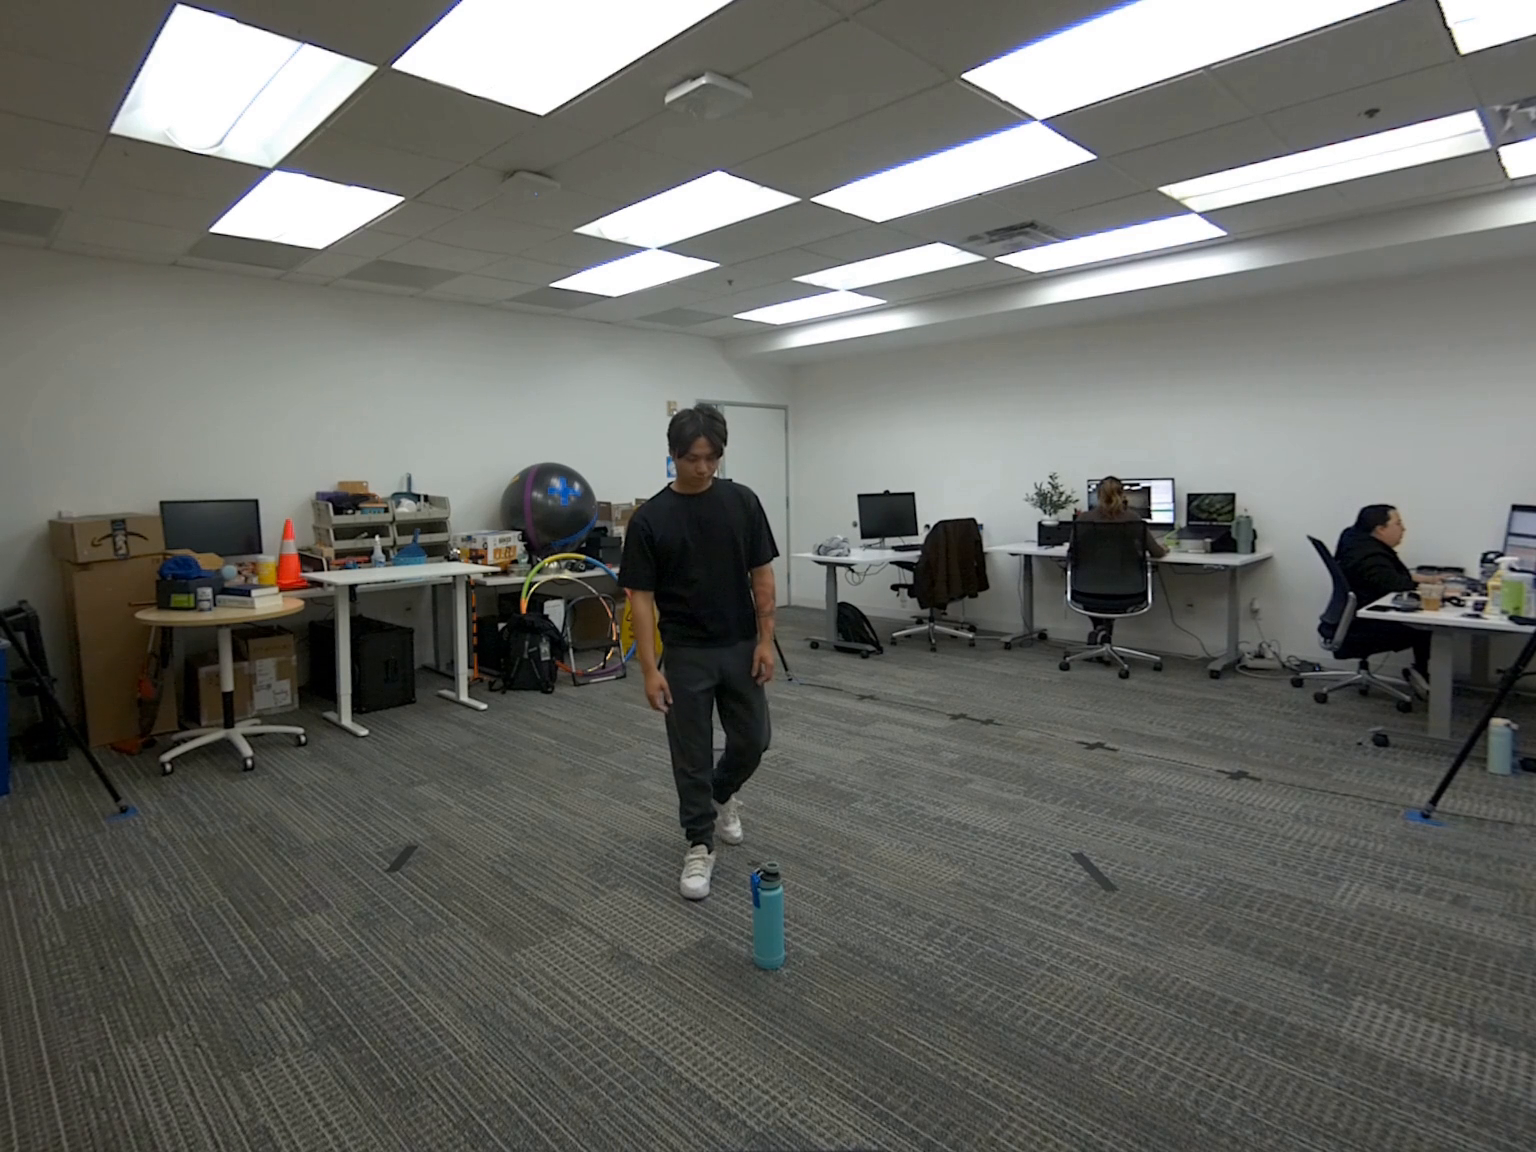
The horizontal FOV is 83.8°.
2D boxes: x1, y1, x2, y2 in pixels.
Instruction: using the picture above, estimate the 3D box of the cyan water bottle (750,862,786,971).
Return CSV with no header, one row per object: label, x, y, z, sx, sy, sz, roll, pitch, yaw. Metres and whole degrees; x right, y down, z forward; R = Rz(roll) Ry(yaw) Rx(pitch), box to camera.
cyan water bottle,0.005,0.982,2.468,0.092,0.283,0.092,-2,3,-2
